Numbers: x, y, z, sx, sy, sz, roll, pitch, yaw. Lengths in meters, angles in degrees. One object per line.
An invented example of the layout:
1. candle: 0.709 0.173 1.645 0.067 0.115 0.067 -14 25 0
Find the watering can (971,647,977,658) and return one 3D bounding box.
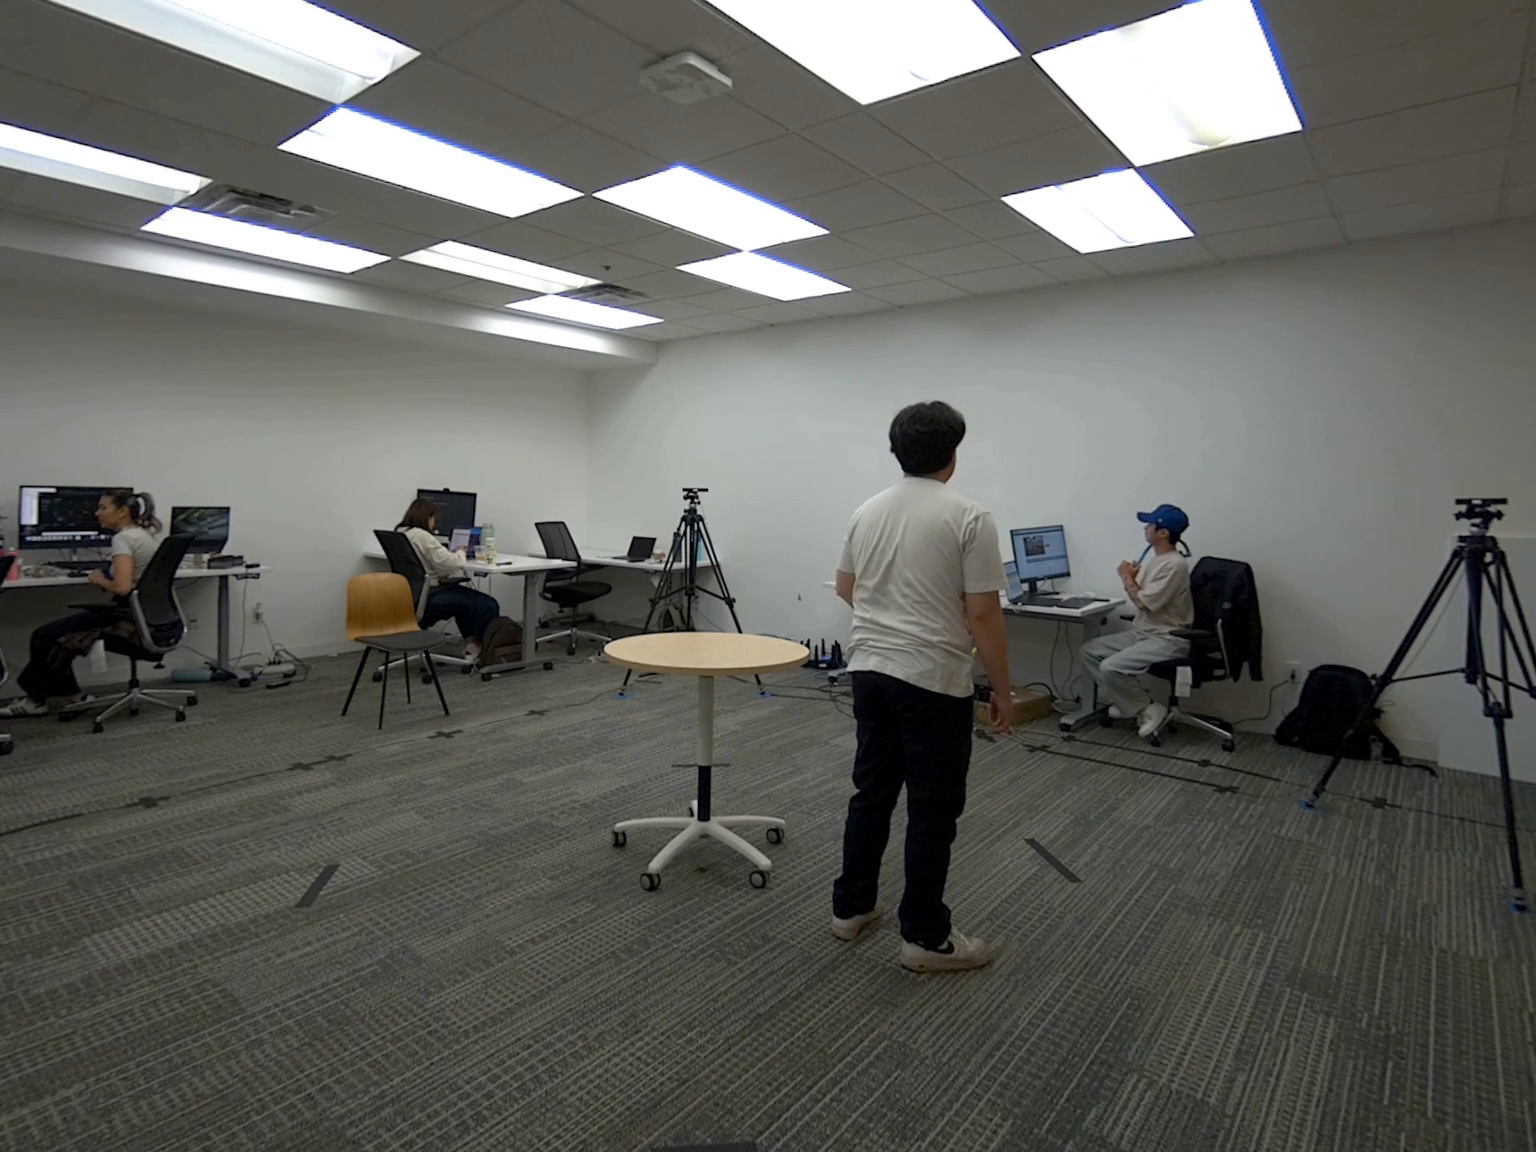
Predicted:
1. watering can: 0.617 0.307 2.869 0.276 0.176 0.099 3 2 -8
